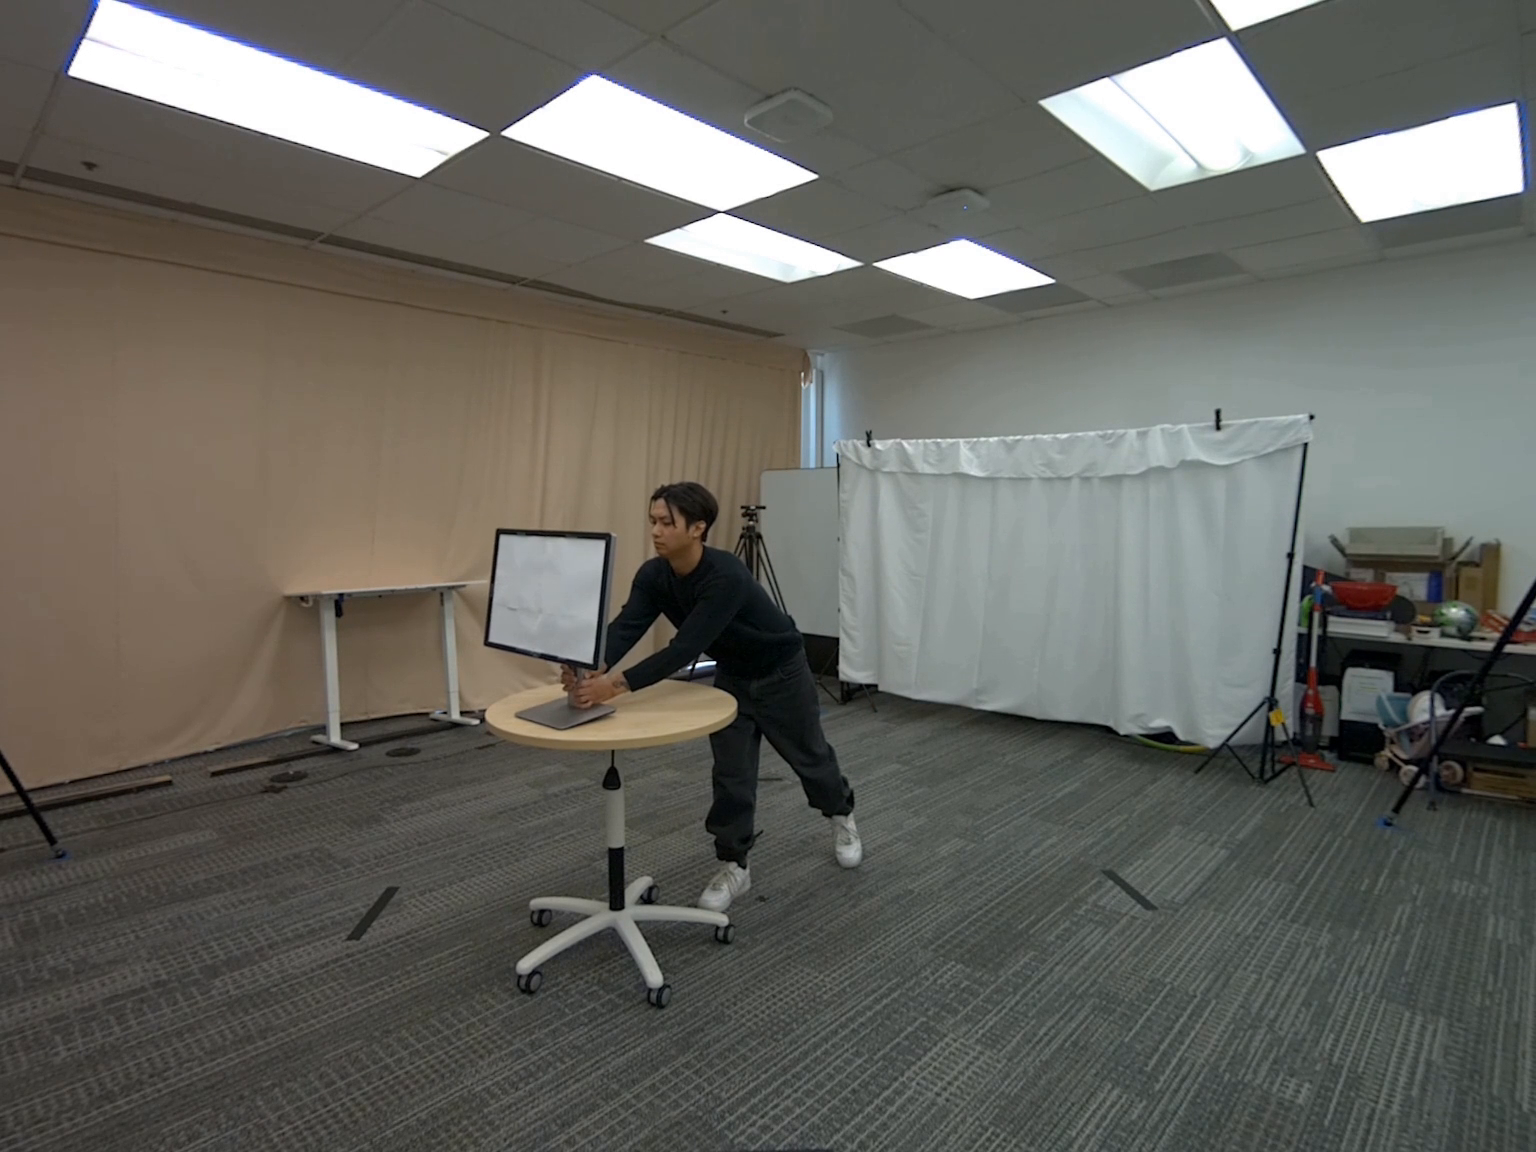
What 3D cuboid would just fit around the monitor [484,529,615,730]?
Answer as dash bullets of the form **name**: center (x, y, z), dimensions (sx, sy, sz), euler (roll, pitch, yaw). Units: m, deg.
- **monitor**: center (-0.606, 0.142, 2.431), dimensions (0.557, 0.520, 0.182), euler (3, 8, 40)
